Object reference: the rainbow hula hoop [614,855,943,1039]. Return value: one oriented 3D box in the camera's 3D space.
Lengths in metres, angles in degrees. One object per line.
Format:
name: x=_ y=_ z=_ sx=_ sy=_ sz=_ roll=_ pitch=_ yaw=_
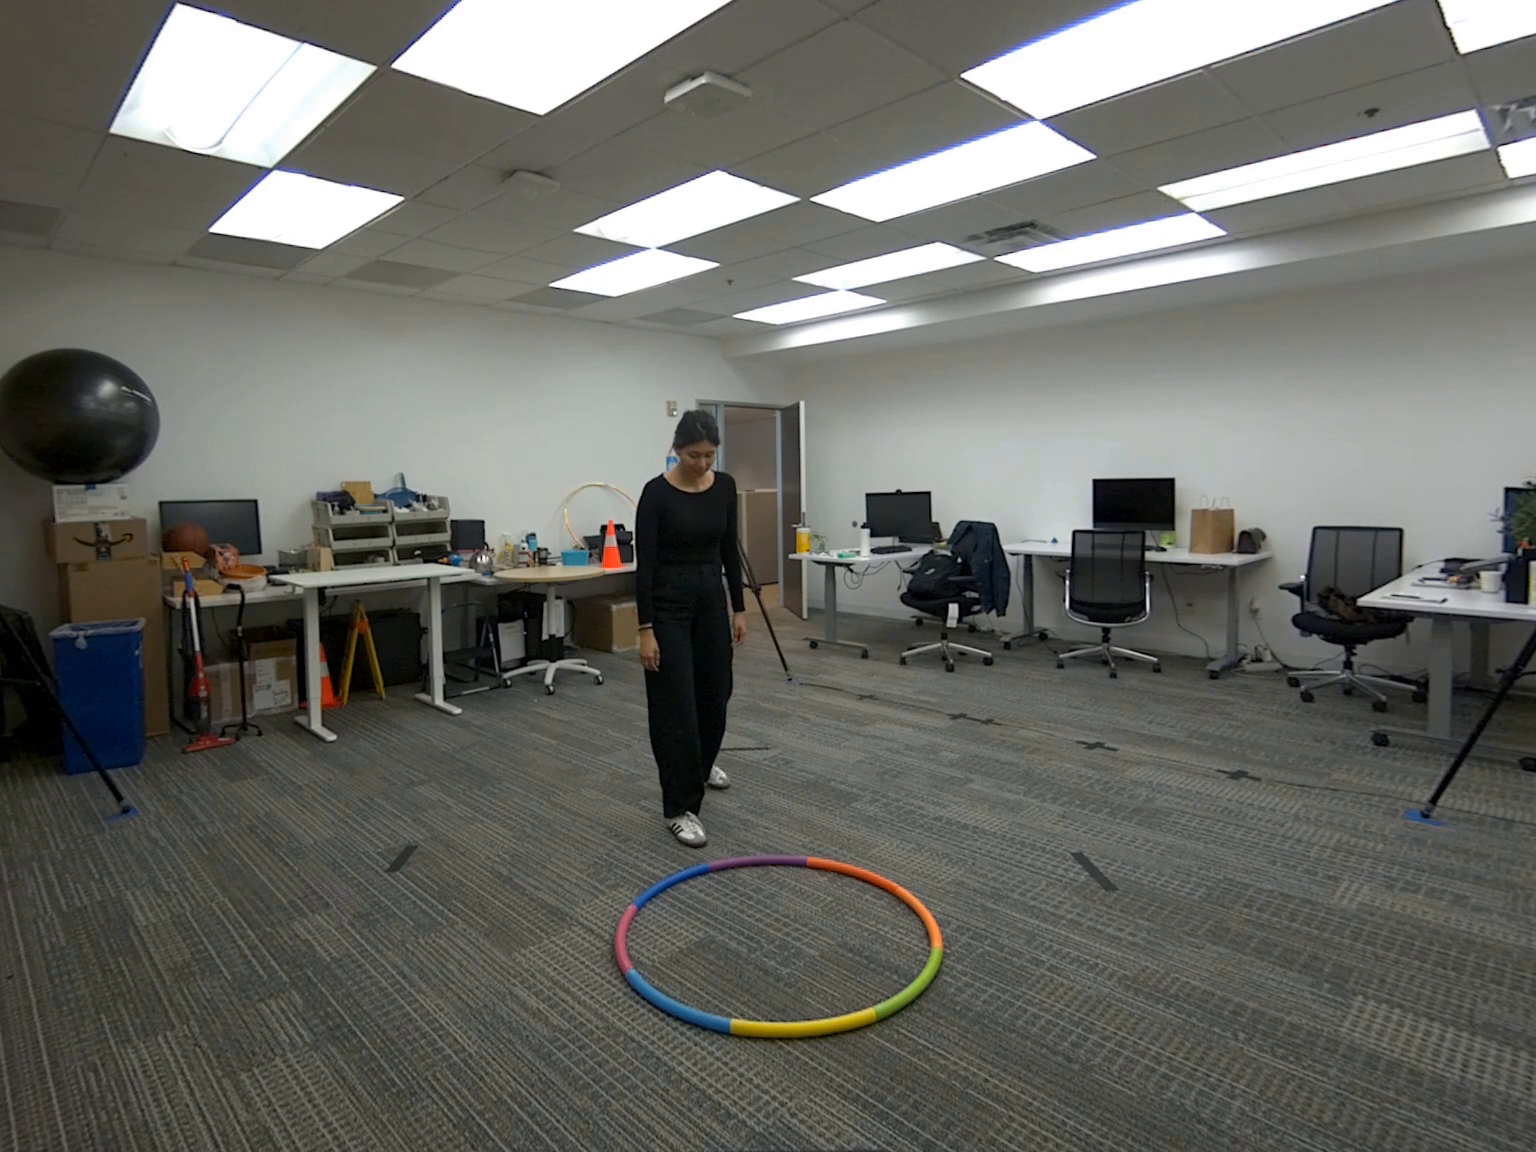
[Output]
rainbow hula hoop: x=0.028 y=1.070 z=2.618 sx=0.978 sy=0.035 sz=0.984 roll=-2 pitch=6 yaw=-2
